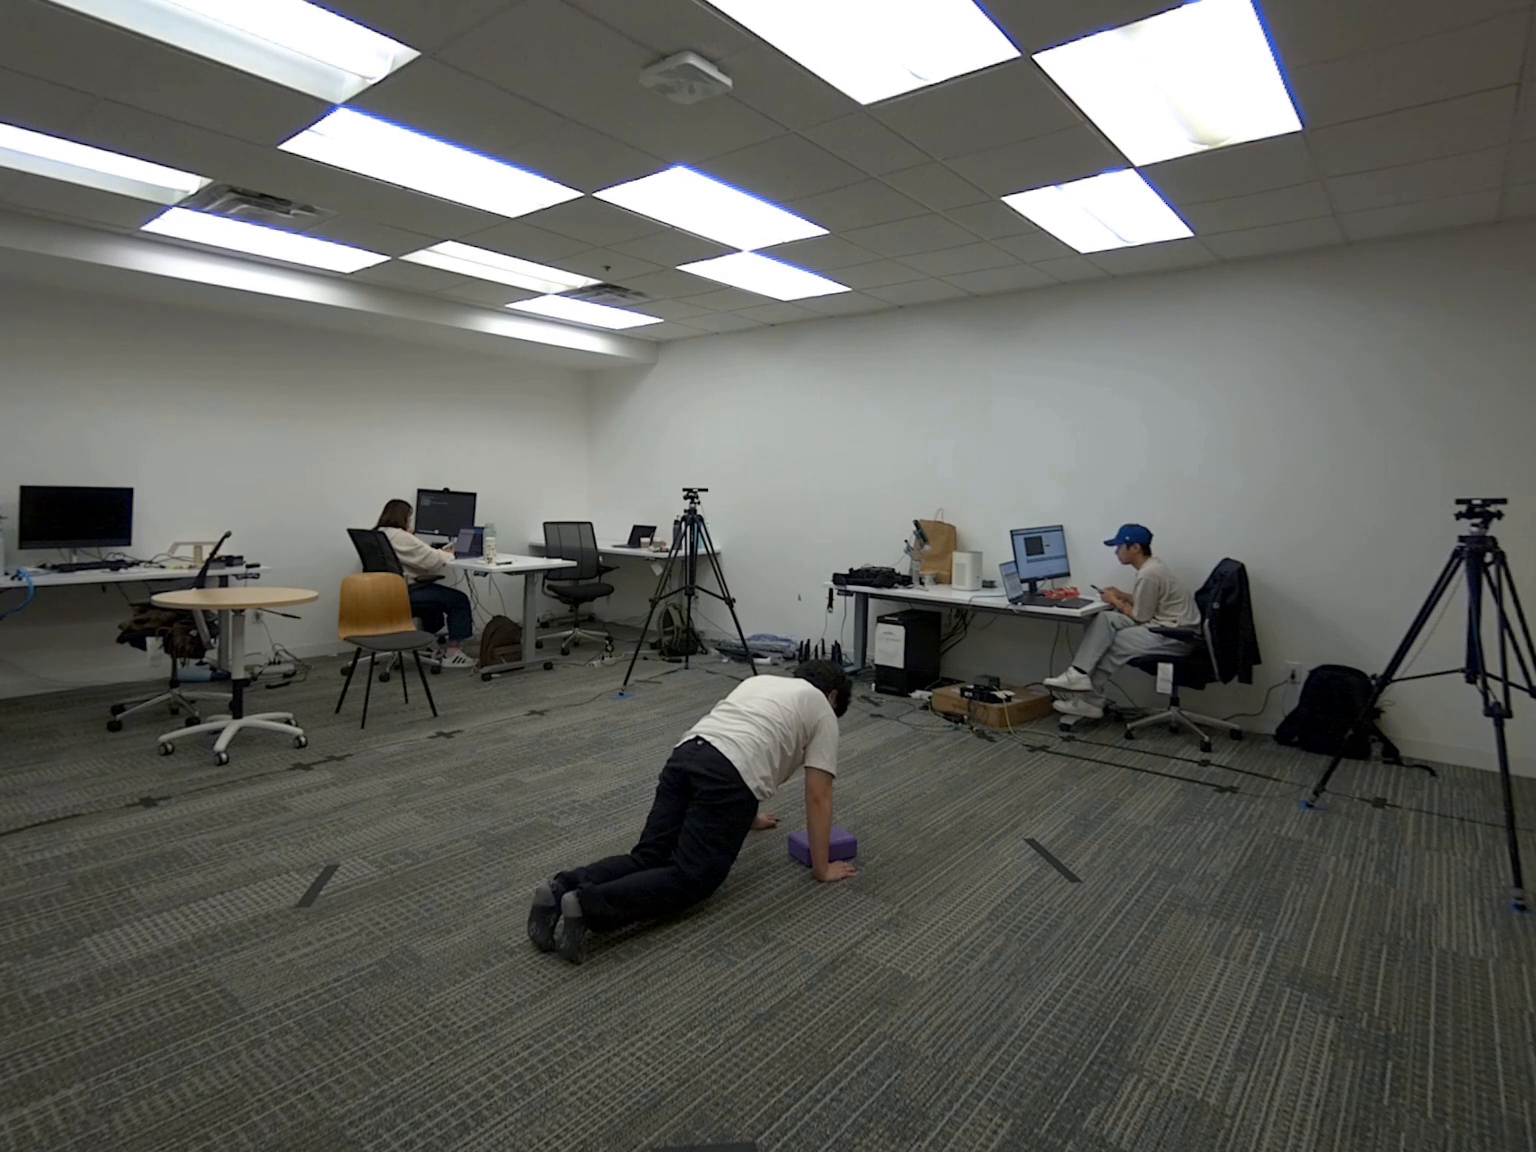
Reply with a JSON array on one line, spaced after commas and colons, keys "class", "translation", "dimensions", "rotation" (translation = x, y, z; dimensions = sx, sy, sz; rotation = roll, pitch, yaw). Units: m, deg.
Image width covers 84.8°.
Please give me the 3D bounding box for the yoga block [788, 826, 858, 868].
[{"class": "yoga block", "translation": [0.194, 1.019, 3.251], "dimensions": [0.223, 0.076, 0.153], "rotation": [-1, 5, -29]}]
